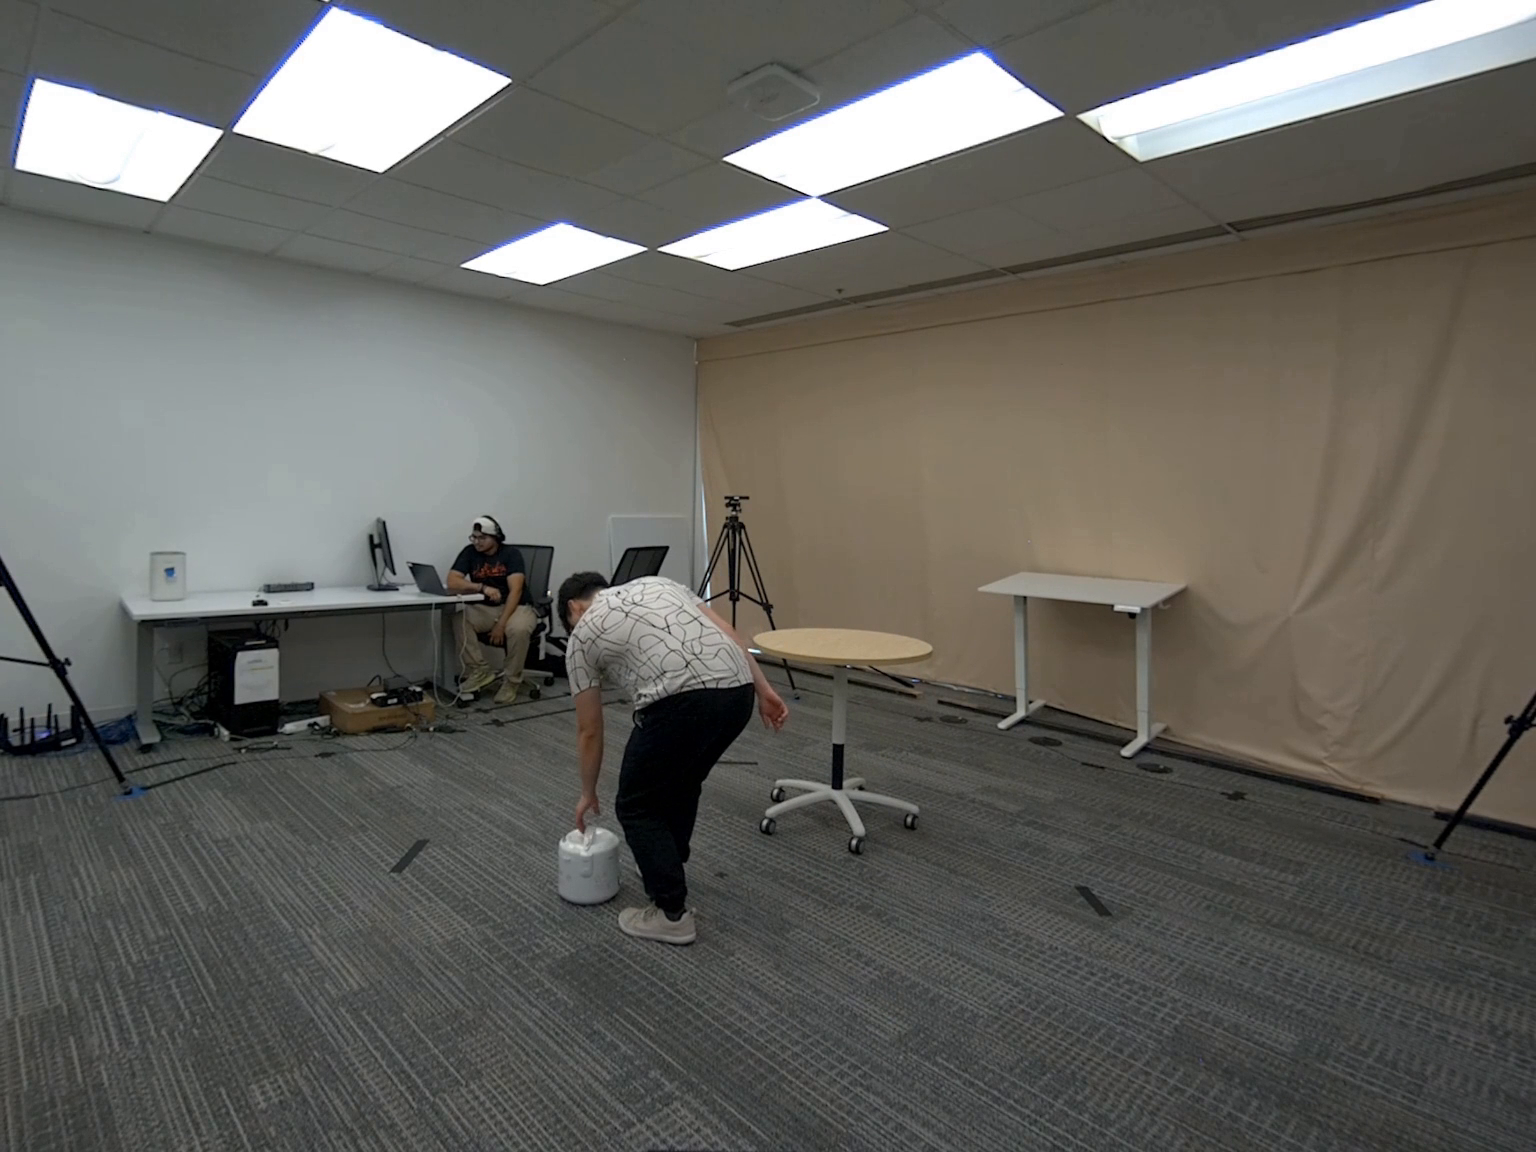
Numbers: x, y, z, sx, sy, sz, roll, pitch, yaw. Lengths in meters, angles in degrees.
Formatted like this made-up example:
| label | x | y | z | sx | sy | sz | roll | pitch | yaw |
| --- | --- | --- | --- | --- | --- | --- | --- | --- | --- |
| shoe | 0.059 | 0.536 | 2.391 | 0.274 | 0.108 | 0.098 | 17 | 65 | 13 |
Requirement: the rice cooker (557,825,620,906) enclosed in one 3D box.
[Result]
| label | x | y | z | sx | sy | sz | roll | pitch | yaw |
| --- | --- | --- | --- | --- | --- | --- | --- | --- | --- |
| rice cooker | -0.622 | 0.991 | 2.924 | 0.217 | 0.232 | 0.222 | 1 | 4 | -3 |
